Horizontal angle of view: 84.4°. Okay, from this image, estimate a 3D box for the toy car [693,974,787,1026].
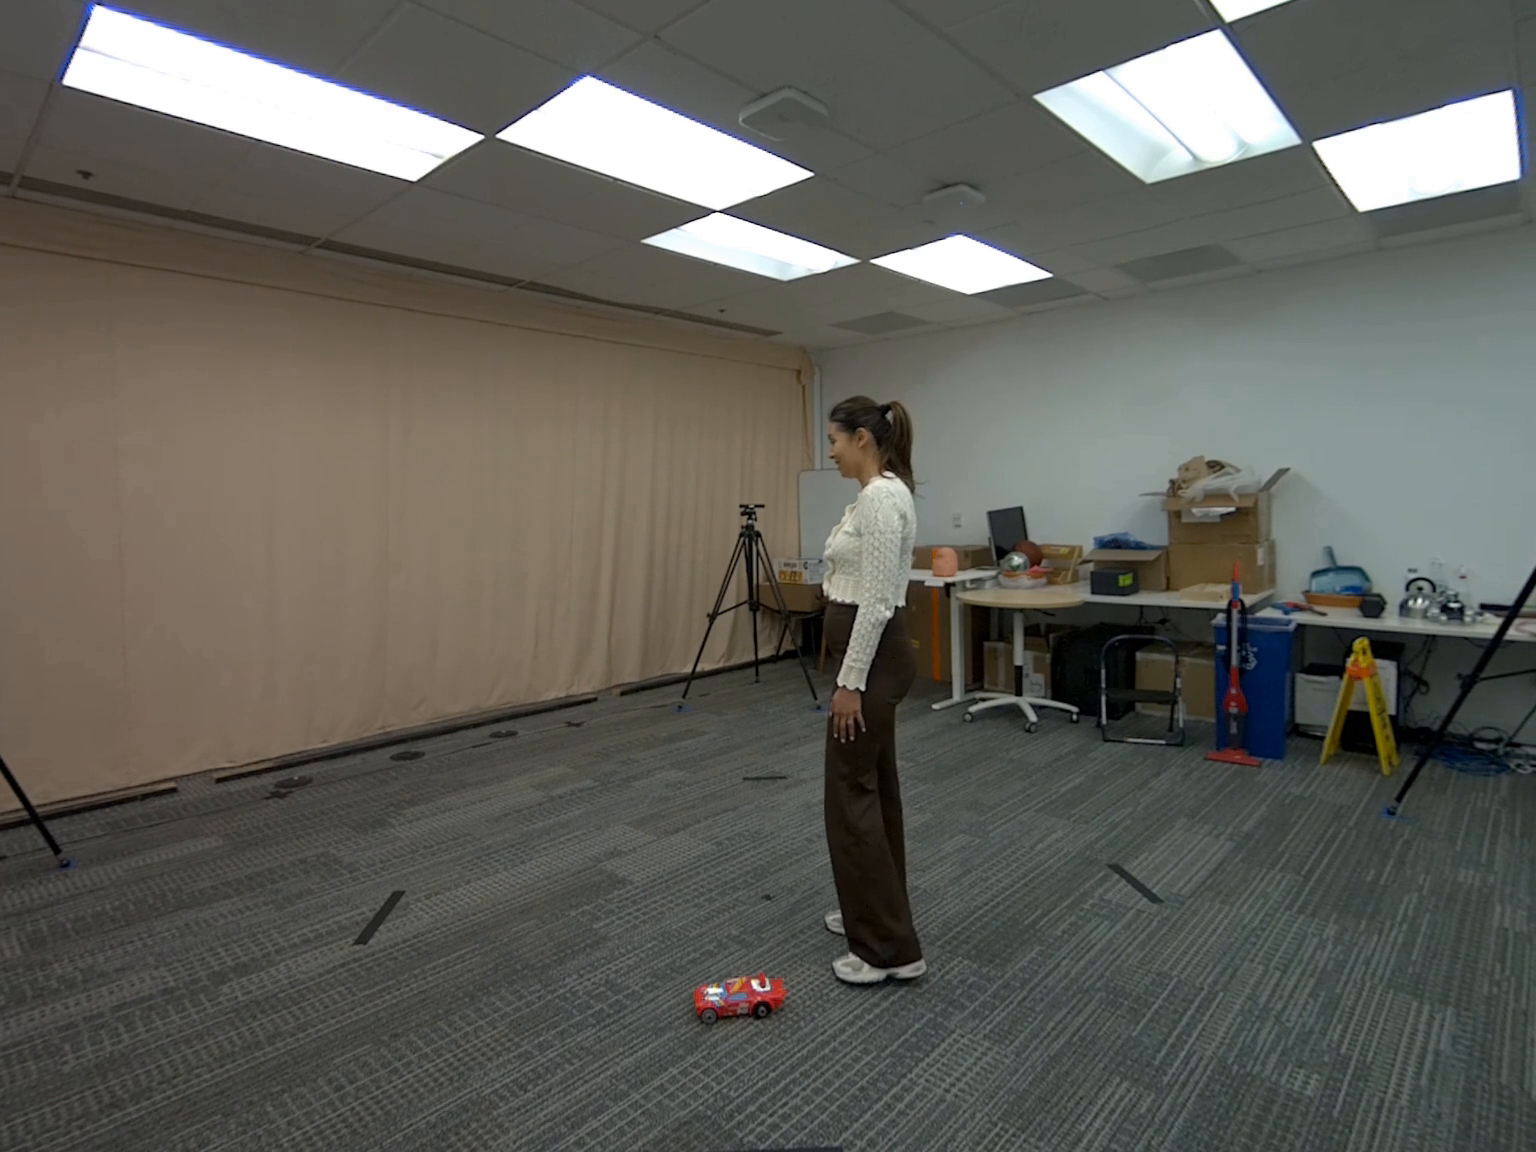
[{"bbox_3d":[-0.073,1.170,2.320,0.253,0.083,0.131,-12,6,-5],"label":"toy car"}]
